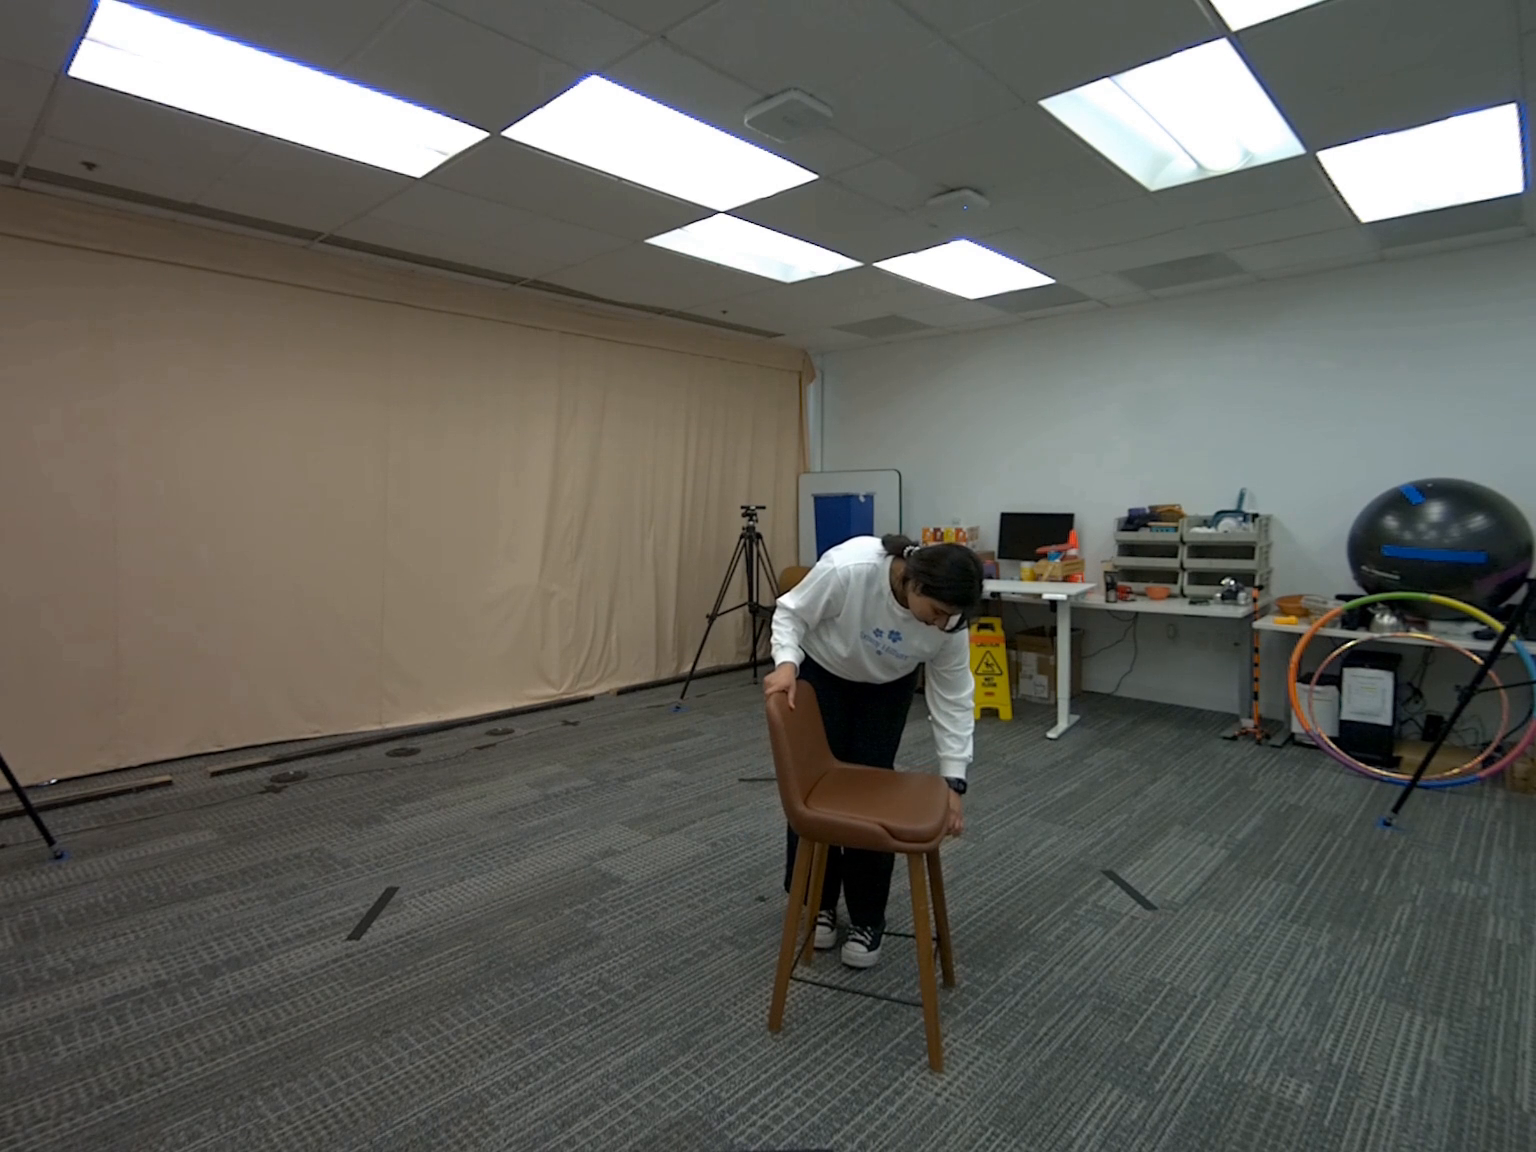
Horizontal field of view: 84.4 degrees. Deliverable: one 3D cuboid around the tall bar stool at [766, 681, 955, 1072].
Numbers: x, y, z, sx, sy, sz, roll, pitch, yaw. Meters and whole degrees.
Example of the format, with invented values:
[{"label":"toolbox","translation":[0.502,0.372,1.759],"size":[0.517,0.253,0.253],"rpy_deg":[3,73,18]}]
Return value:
[{"label":"tall bar stool","translation":[0.262,0.759,2.312],"size":[0.477,0.888,0.448],"rpy_deg":[0,3,19]}]
